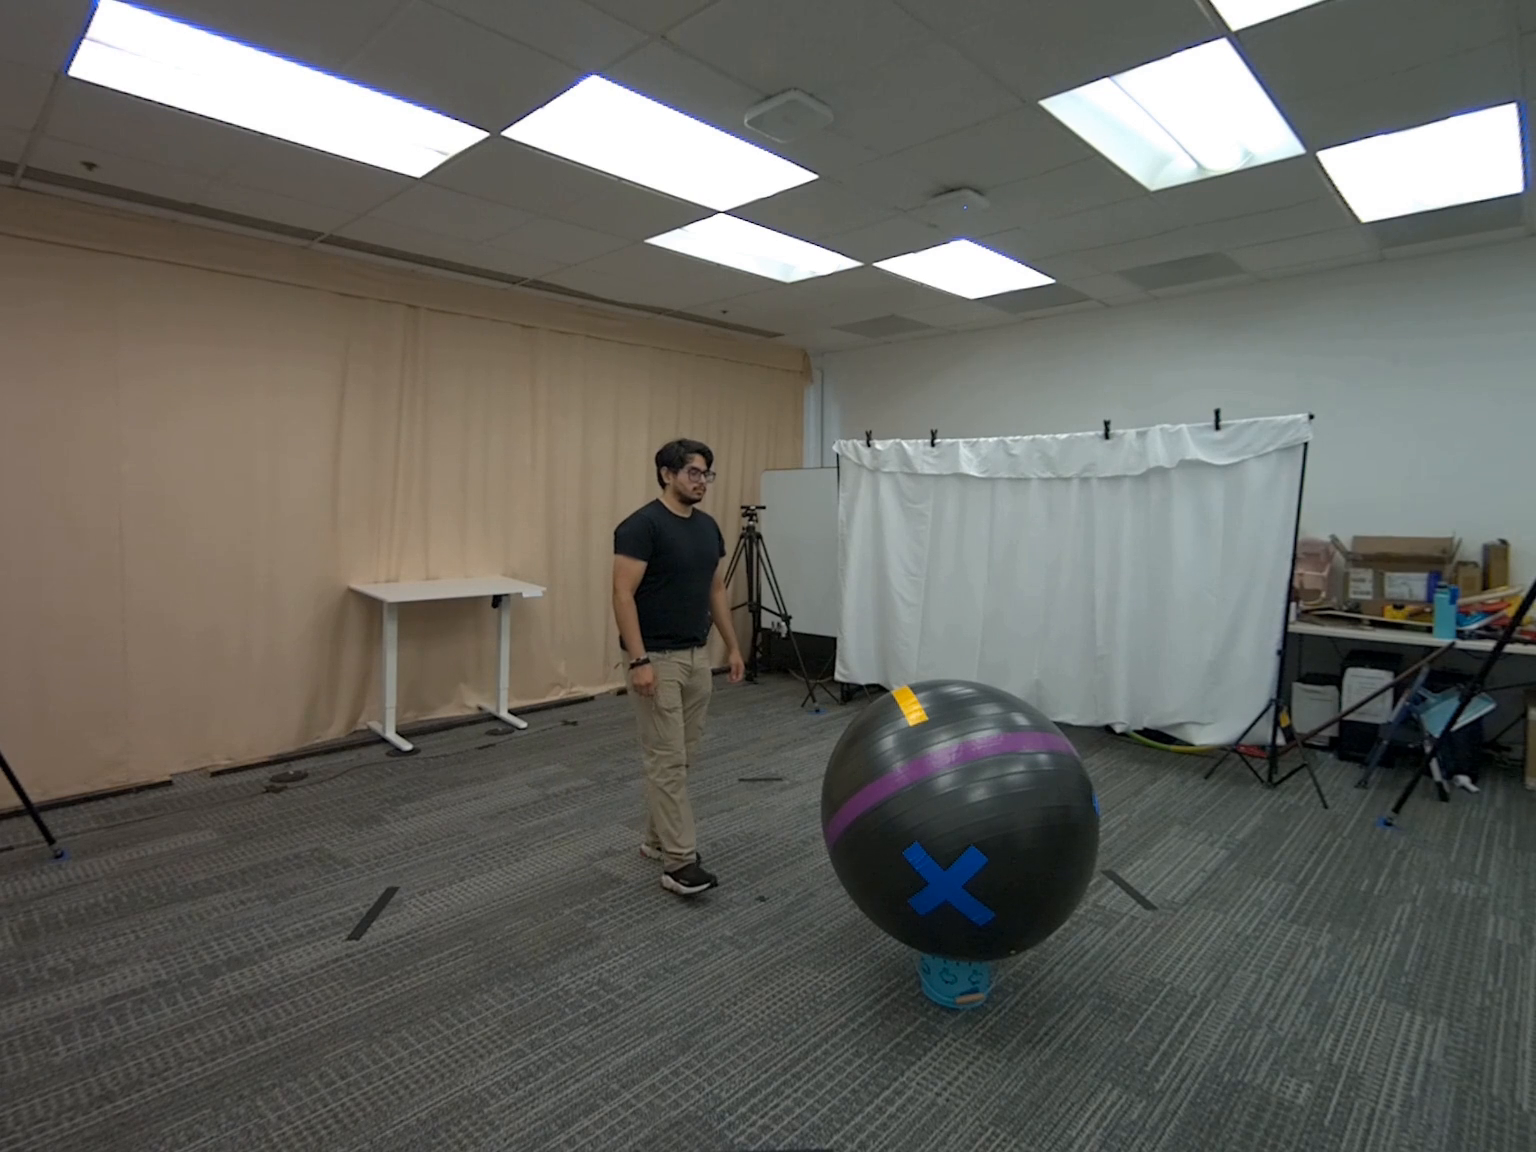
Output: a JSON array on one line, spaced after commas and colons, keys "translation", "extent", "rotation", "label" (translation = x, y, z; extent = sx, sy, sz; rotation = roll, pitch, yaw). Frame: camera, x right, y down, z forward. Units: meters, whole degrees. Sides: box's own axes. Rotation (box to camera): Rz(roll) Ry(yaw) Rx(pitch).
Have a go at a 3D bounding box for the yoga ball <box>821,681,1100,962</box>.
[{"translation": [0.536, 0.680, 2.402], "extent": [0.757, 0.756, 0.760], "rotation": [0, 4, -2], "label": "yoga ball"}]
